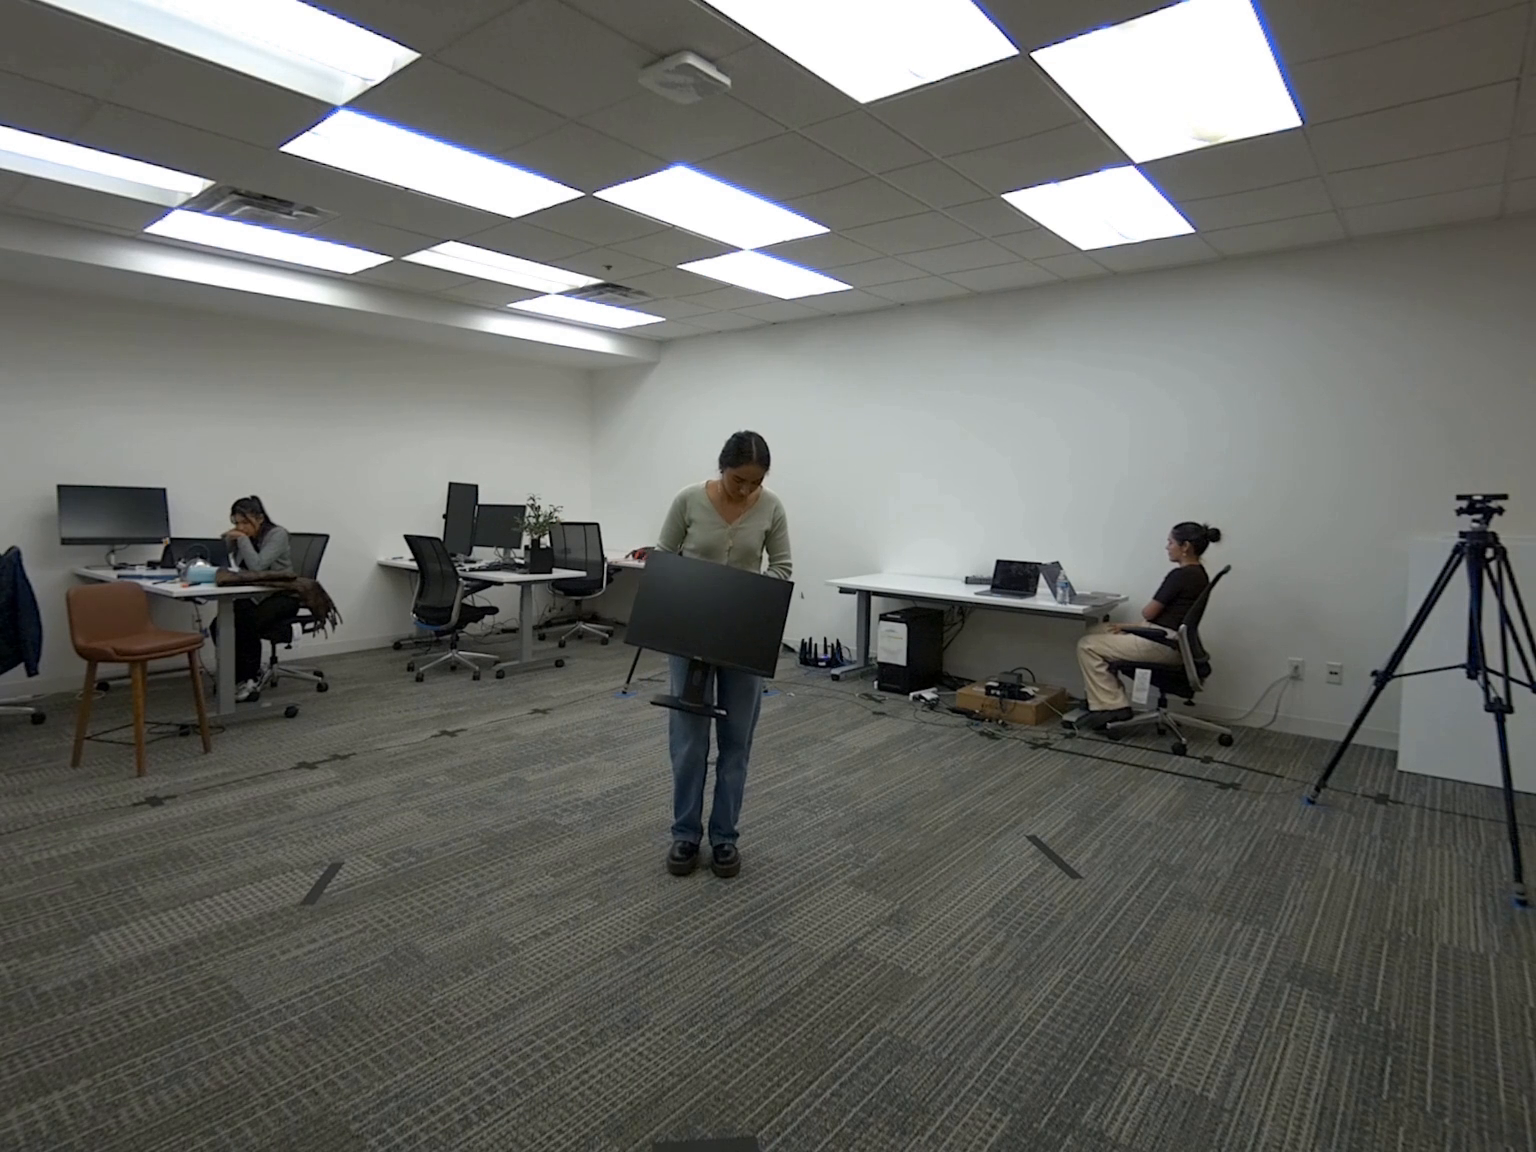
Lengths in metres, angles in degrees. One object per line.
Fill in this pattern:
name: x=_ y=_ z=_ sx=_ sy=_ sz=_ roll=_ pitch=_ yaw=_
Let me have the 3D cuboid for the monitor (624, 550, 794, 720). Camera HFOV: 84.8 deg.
monitor: x=-0.254 y=0.206 z=3.010 sx=0.533 sy=0.515 sz=0.174 roll=13 pitch=3 yaw=4
